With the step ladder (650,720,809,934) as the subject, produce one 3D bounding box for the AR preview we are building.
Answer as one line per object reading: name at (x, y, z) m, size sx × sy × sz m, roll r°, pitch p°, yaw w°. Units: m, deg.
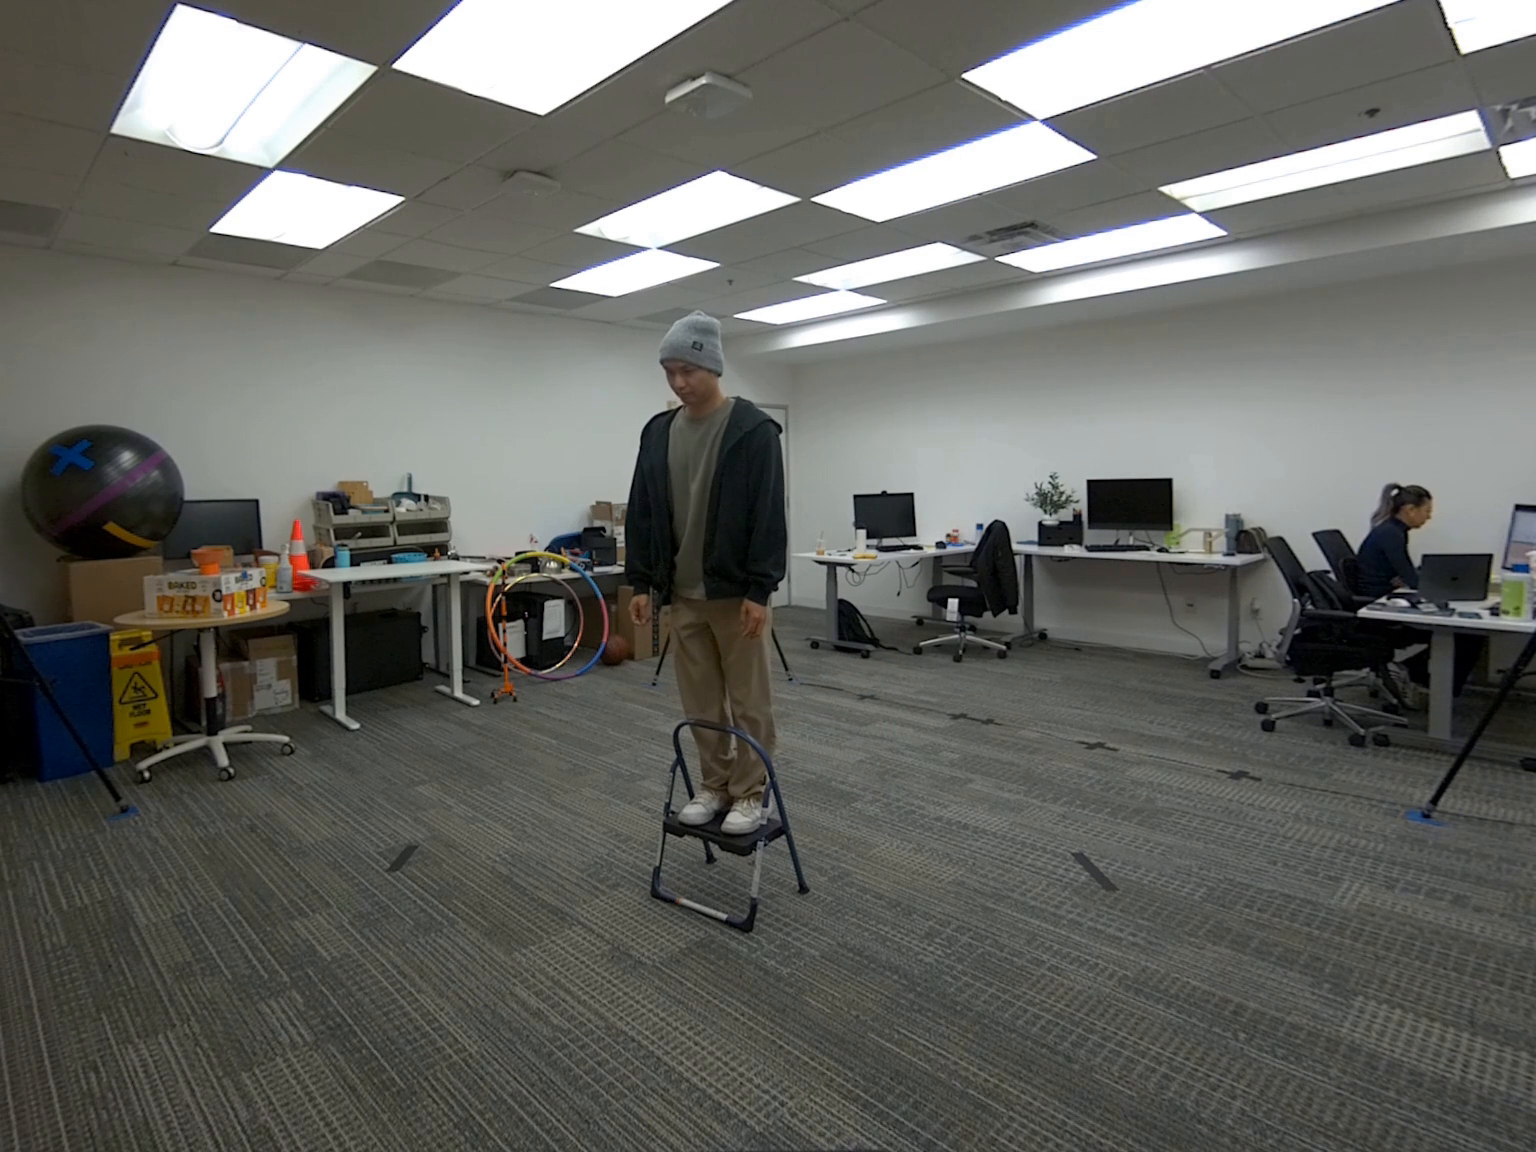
step ladder at (-0.137, 0.773, 2.865) m, size 0.443 × 0.603 × 0.341 m, roll 2°, pitch 6°, yaw 35°
